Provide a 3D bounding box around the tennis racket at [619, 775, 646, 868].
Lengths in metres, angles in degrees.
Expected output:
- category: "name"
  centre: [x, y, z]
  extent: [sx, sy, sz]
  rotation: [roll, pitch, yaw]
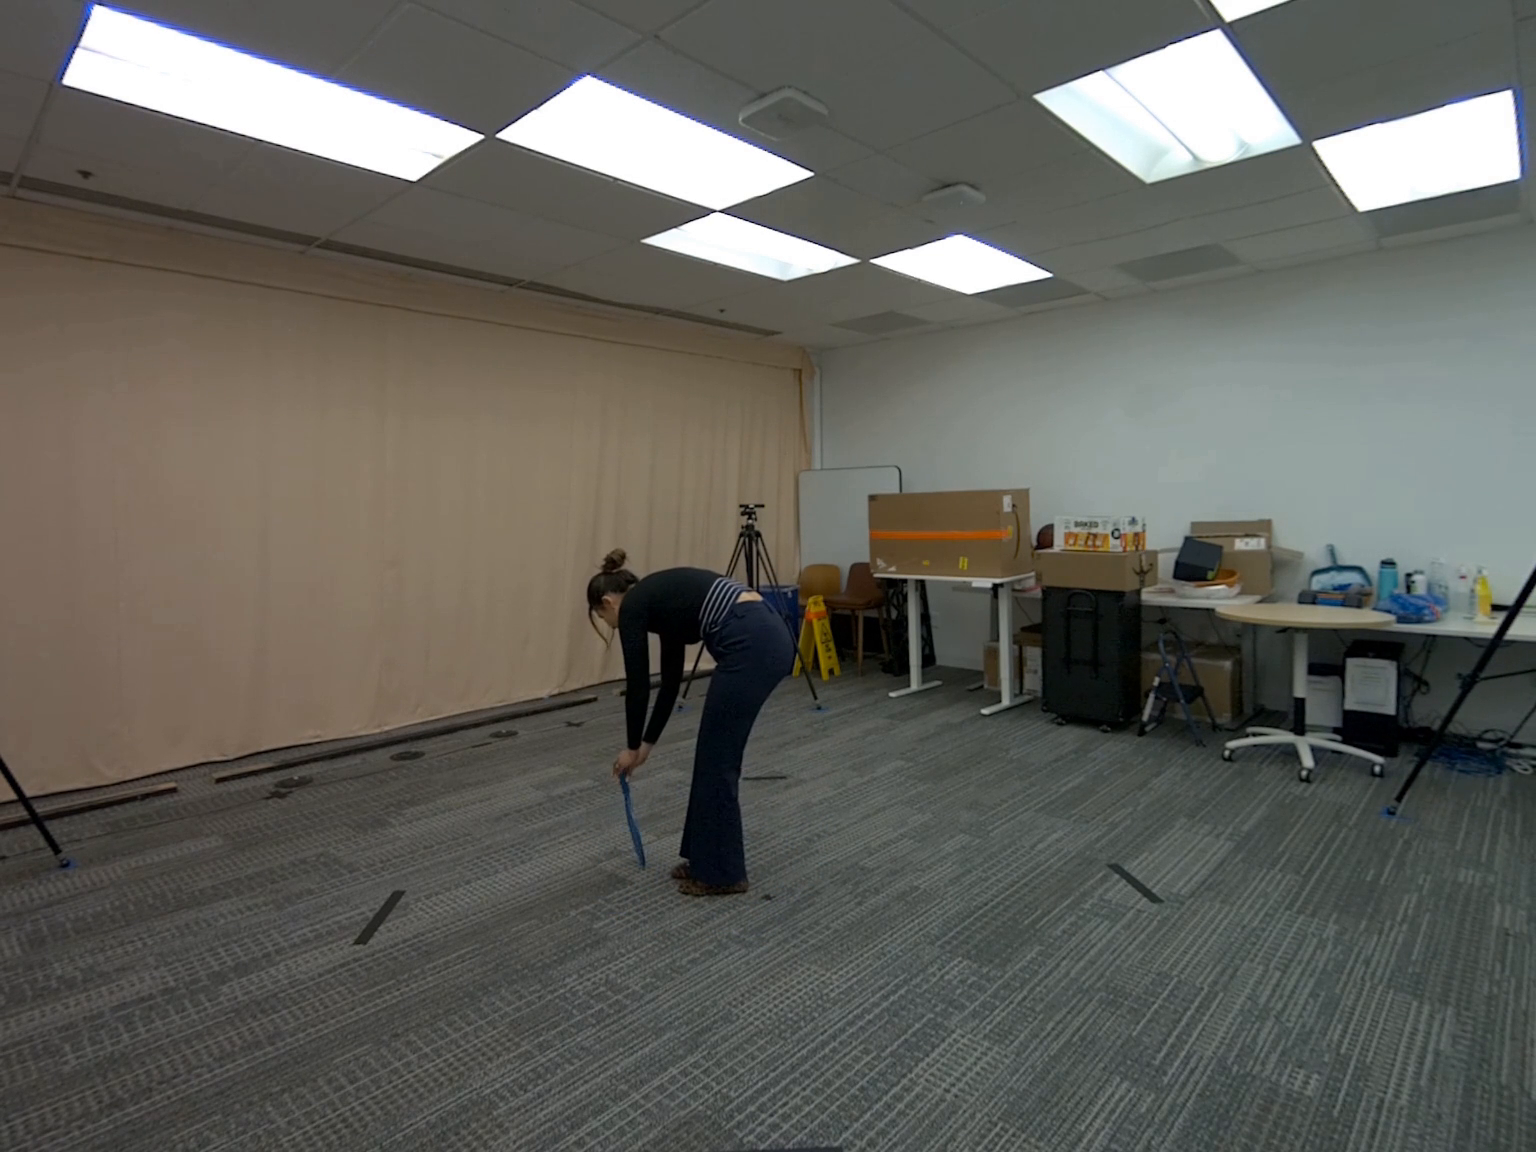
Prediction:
- category: "tennis racket"
  centre: [-0.522, 0.922, 3.237]
  extent: [0.031, 0.428, 0.220]
  rotation: [-16, 16, -21]
